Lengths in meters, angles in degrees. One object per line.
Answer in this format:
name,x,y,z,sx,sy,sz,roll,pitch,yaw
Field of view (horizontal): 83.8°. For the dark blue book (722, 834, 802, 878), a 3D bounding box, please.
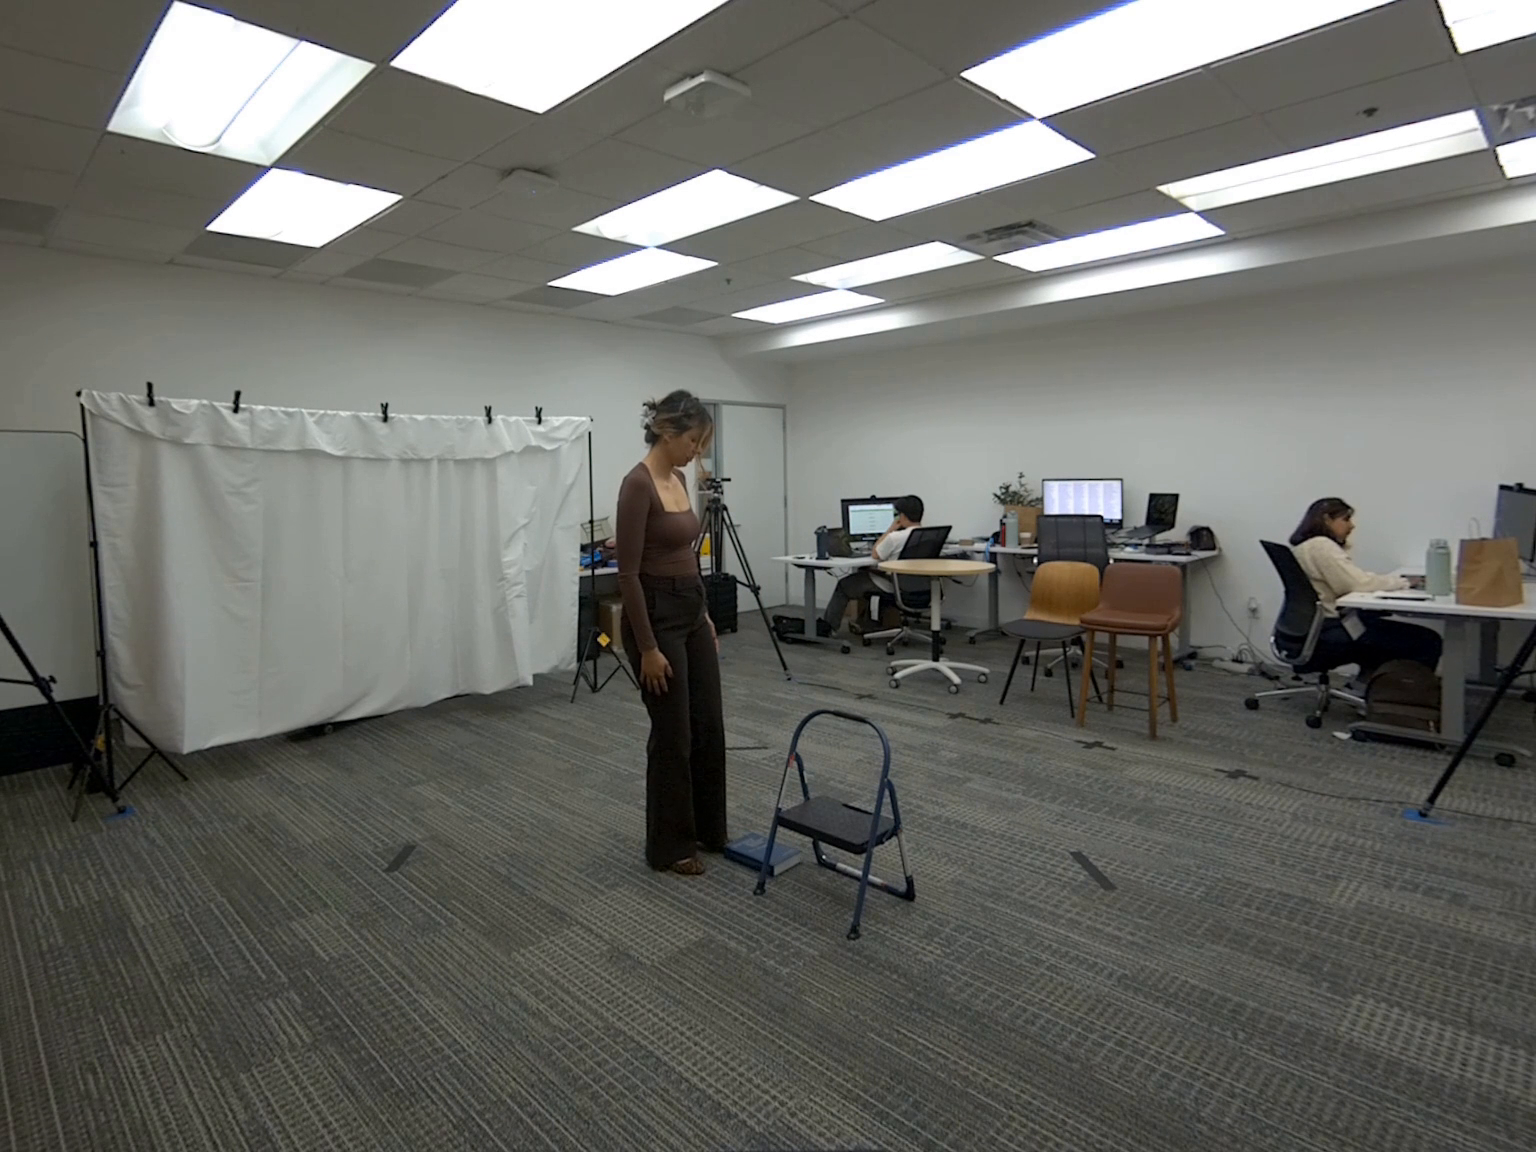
dark blue book,-0.020,1.011,3.120,0.253,0.045,0.159,5,9,42
